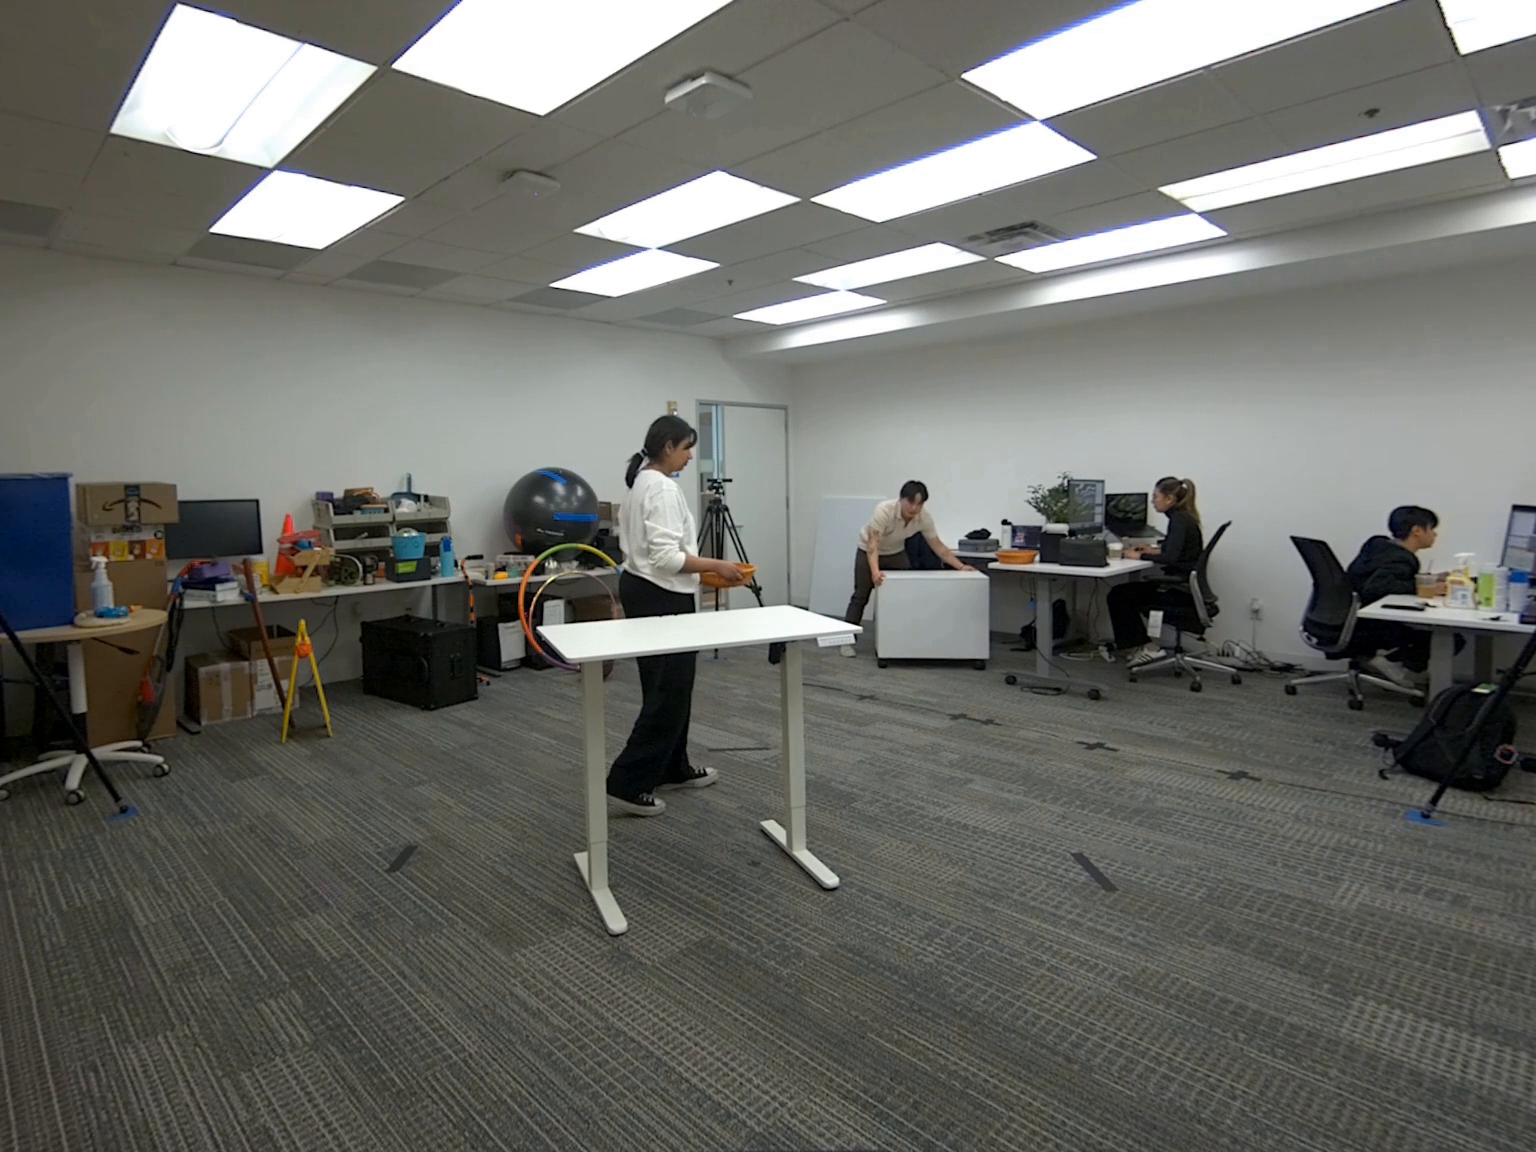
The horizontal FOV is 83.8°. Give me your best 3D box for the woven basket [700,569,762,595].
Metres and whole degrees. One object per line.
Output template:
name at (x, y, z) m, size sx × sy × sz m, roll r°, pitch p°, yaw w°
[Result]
woven basket at (-0.217, 0.007, 3.871) m, size 0.248 × 0.073 × 0.359 m, roll -8°, pitch 9°, yaw -22°
